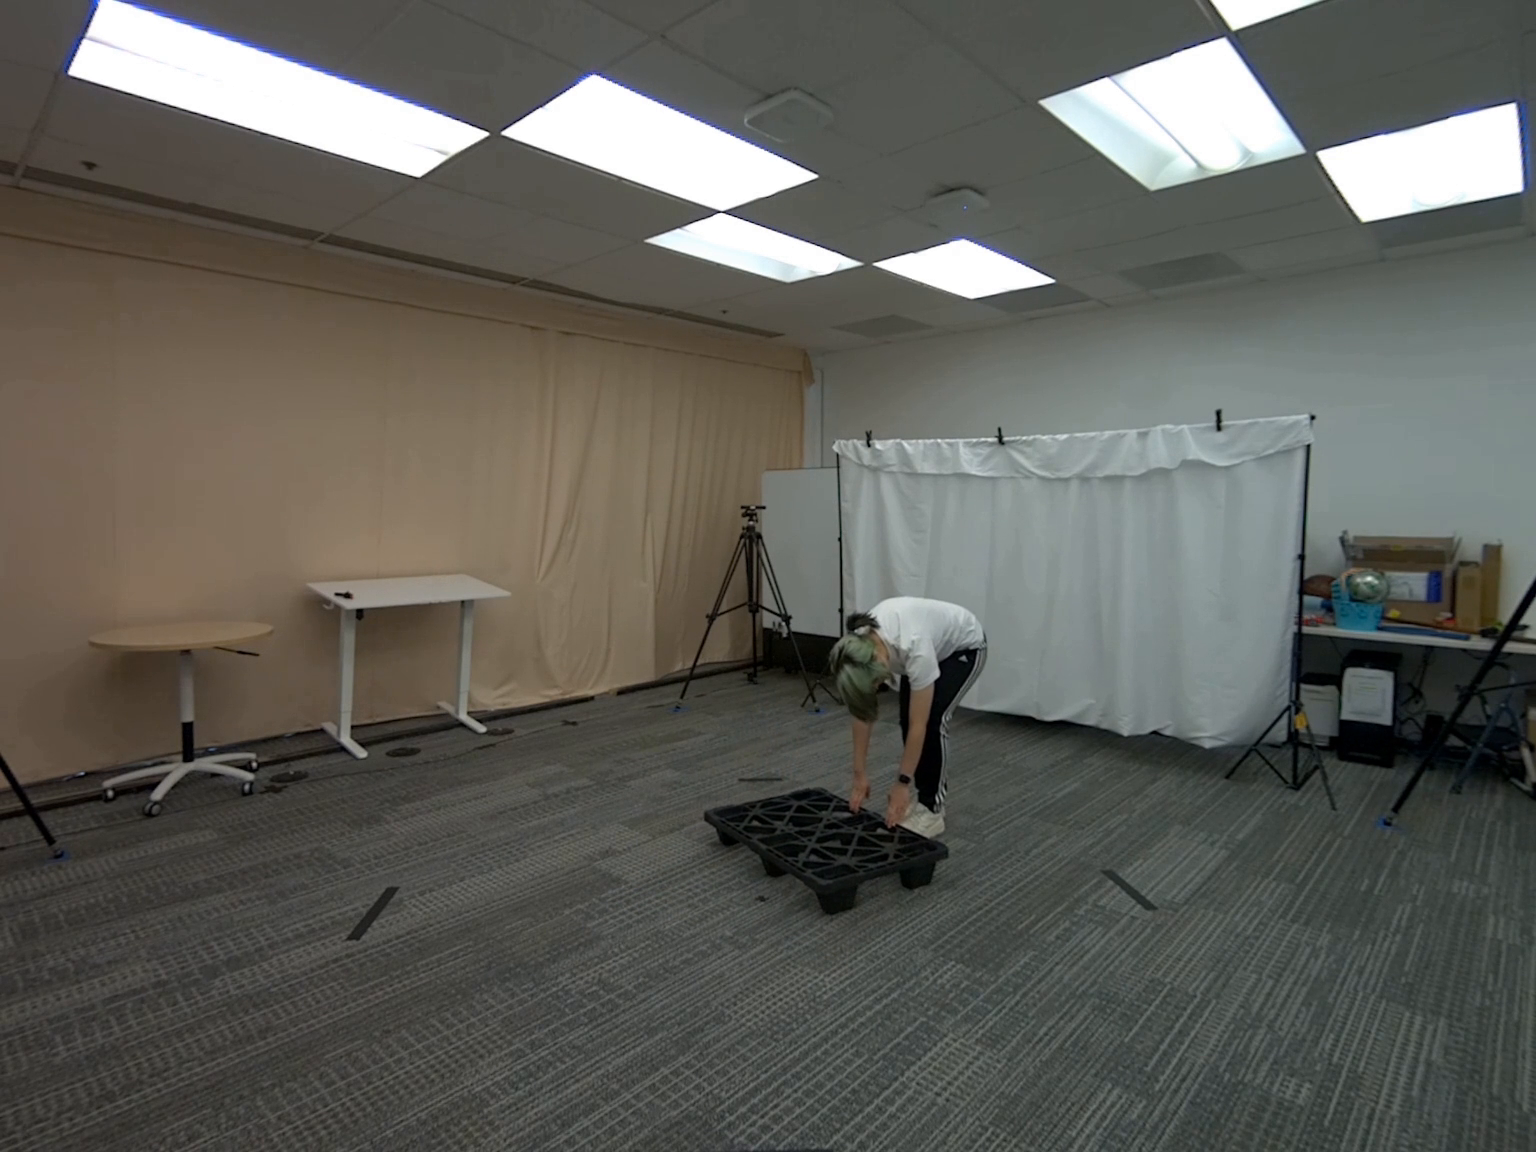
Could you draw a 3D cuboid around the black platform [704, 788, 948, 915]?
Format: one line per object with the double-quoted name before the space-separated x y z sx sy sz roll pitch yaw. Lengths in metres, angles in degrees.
"black platform" 0.204 1.051 3.289 0.588 0.143 0.830 -2 5 -33
